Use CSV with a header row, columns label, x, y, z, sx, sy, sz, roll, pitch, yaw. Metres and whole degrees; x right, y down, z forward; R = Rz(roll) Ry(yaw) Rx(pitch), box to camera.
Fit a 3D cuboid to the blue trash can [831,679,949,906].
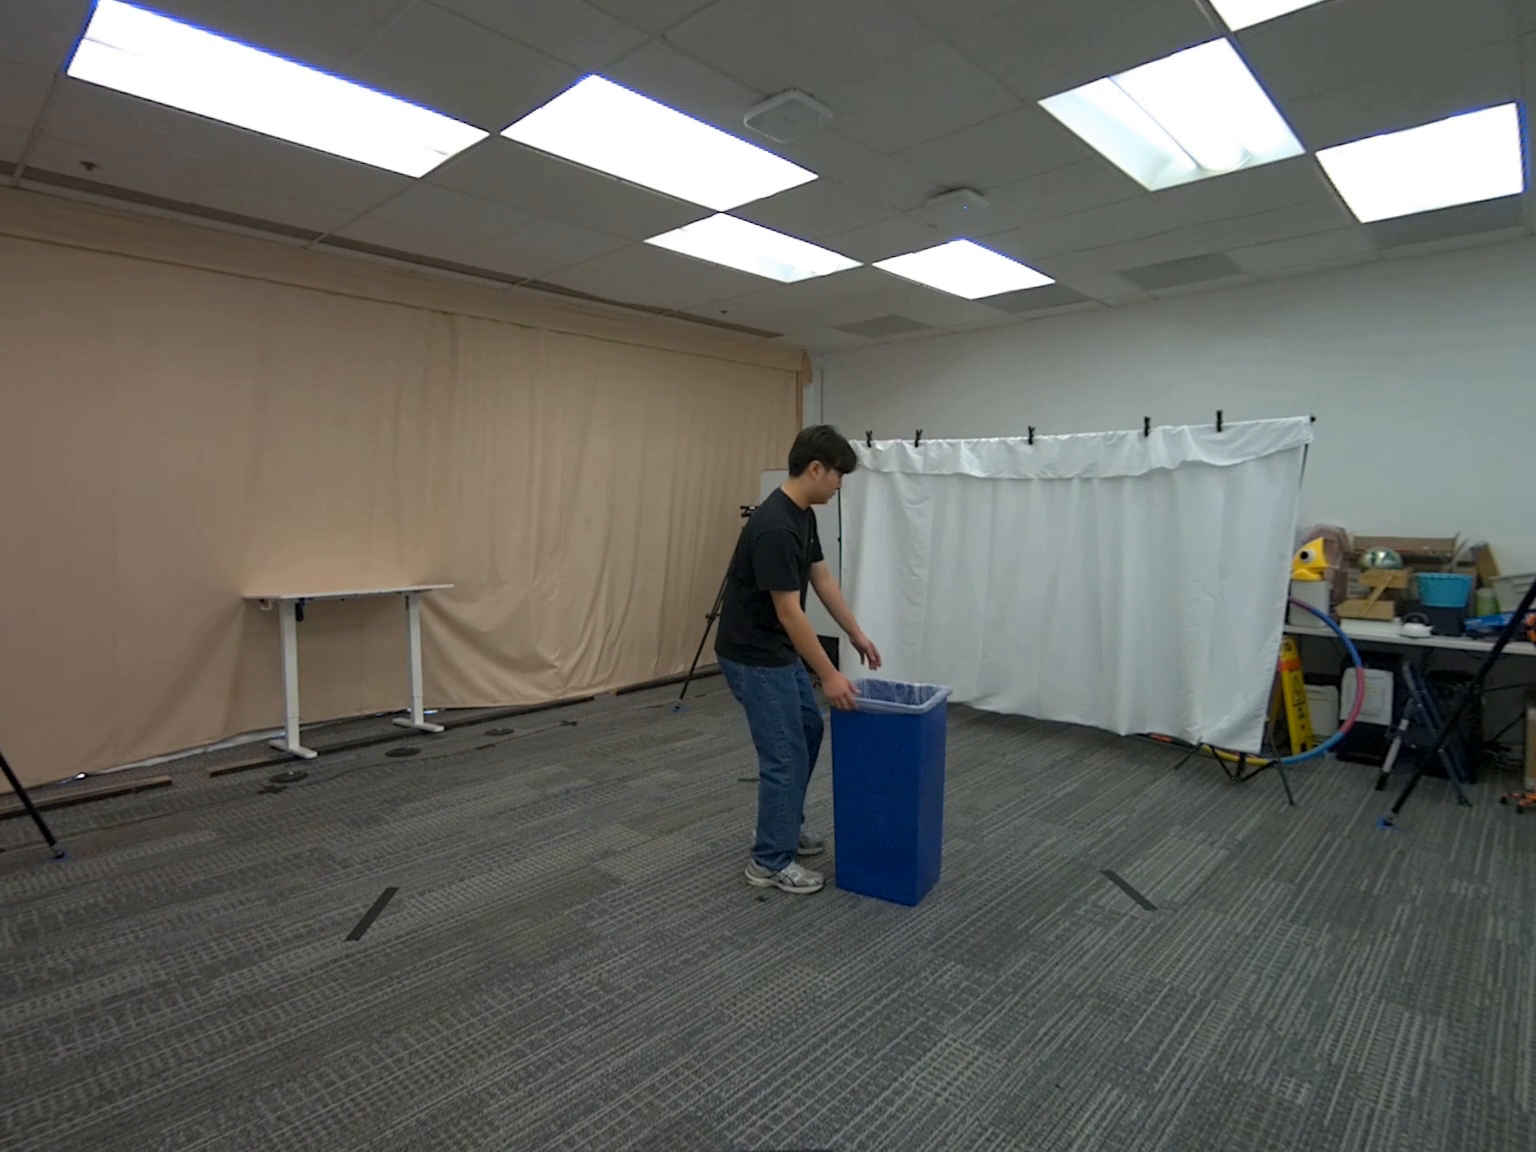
label,x,y,z,sx,sy,sz,roll,pitch,yaw
blue trash can,0.452,0.776,3.087,0.389,0.712,0.364,2,3,29
